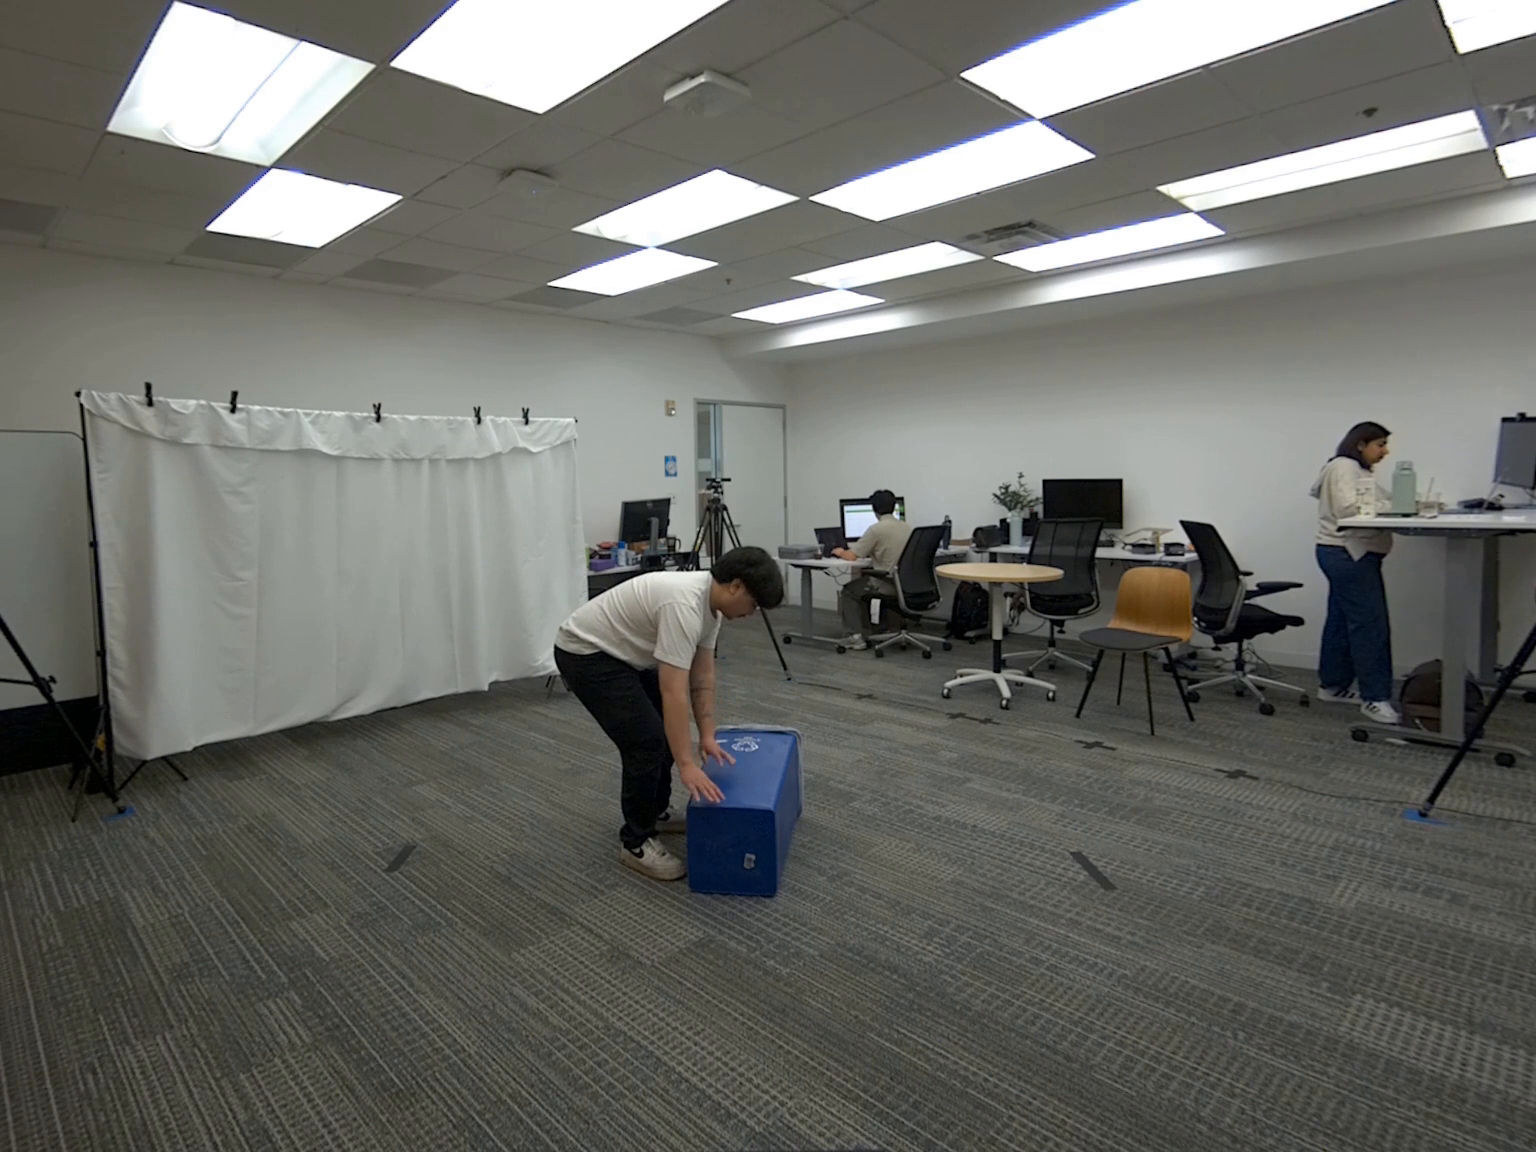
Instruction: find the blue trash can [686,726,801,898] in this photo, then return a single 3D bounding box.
[{"bbox_3d":[-0.076,0.863,3.203,0.377,0.375,0.714,0,9,6],"label":"blue trash can"}]
